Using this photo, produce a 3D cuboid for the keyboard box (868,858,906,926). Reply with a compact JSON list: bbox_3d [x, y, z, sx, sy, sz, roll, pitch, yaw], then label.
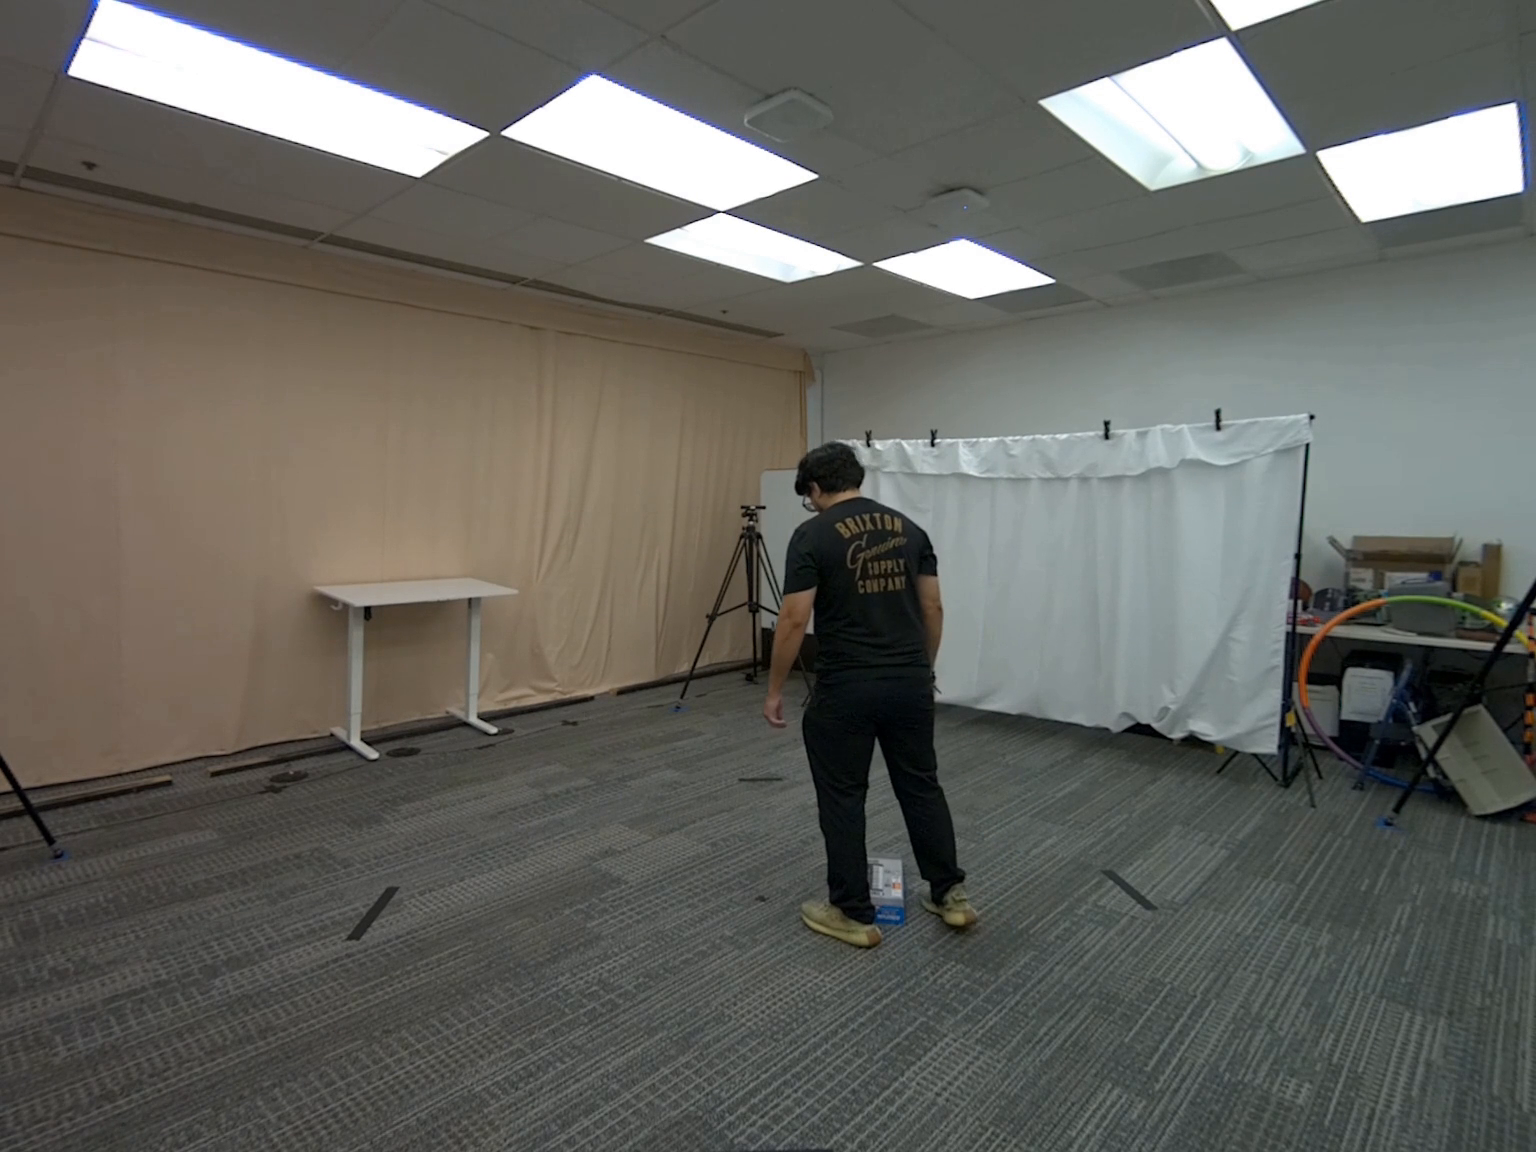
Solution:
[{"bbox_3d":[0.402,1.110,3.024,0.178,0.059,0.433,1,5,9],"label":"keyboard box"}]
